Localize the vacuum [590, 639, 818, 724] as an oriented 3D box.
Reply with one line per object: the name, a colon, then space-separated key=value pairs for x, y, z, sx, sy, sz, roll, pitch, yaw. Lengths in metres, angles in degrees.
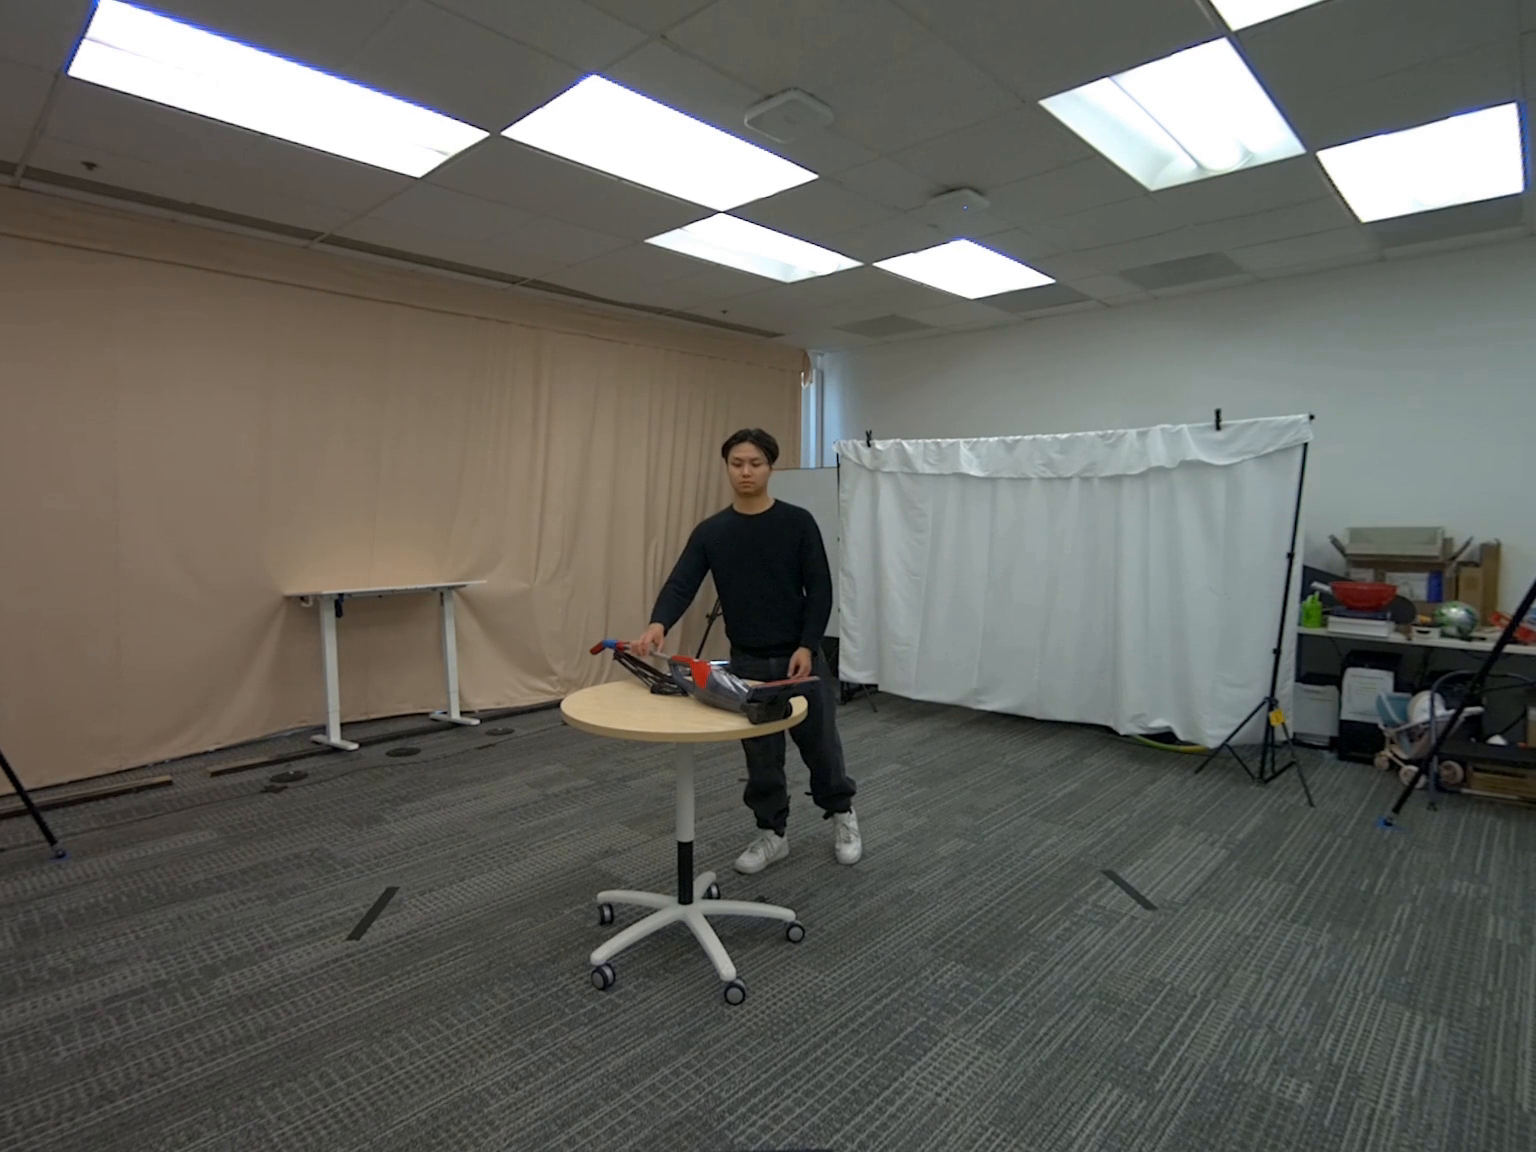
vacuum: x=-0.310 y=0.328 z=2.764 sx=0.245 sy=0.143 sz=1.084 roll=-6 pitch=8 yaw=-37
